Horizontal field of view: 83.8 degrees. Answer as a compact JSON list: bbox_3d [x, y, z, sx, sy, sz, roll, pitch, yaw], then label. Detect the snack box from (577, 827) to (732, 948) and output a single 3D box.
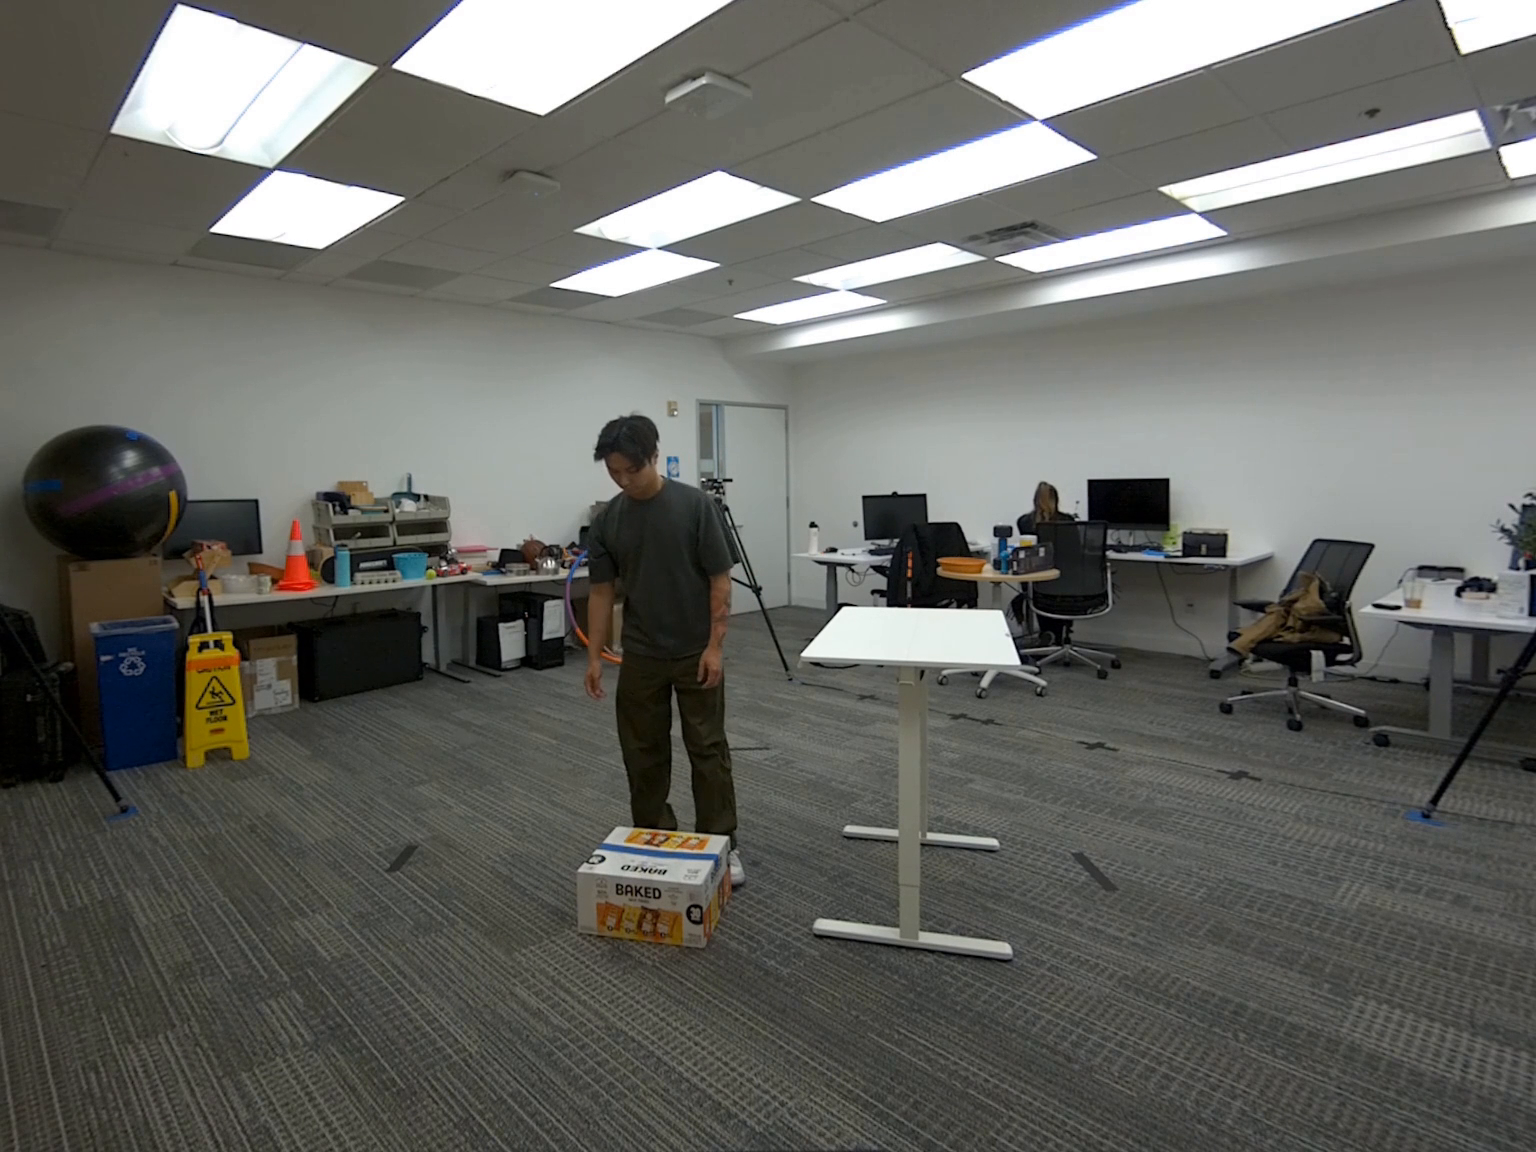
[{"bbox_3d":[-0.358,0.994,2.748,0.411,0.205,0.337,0,6,13],"label":"snack box"}]
